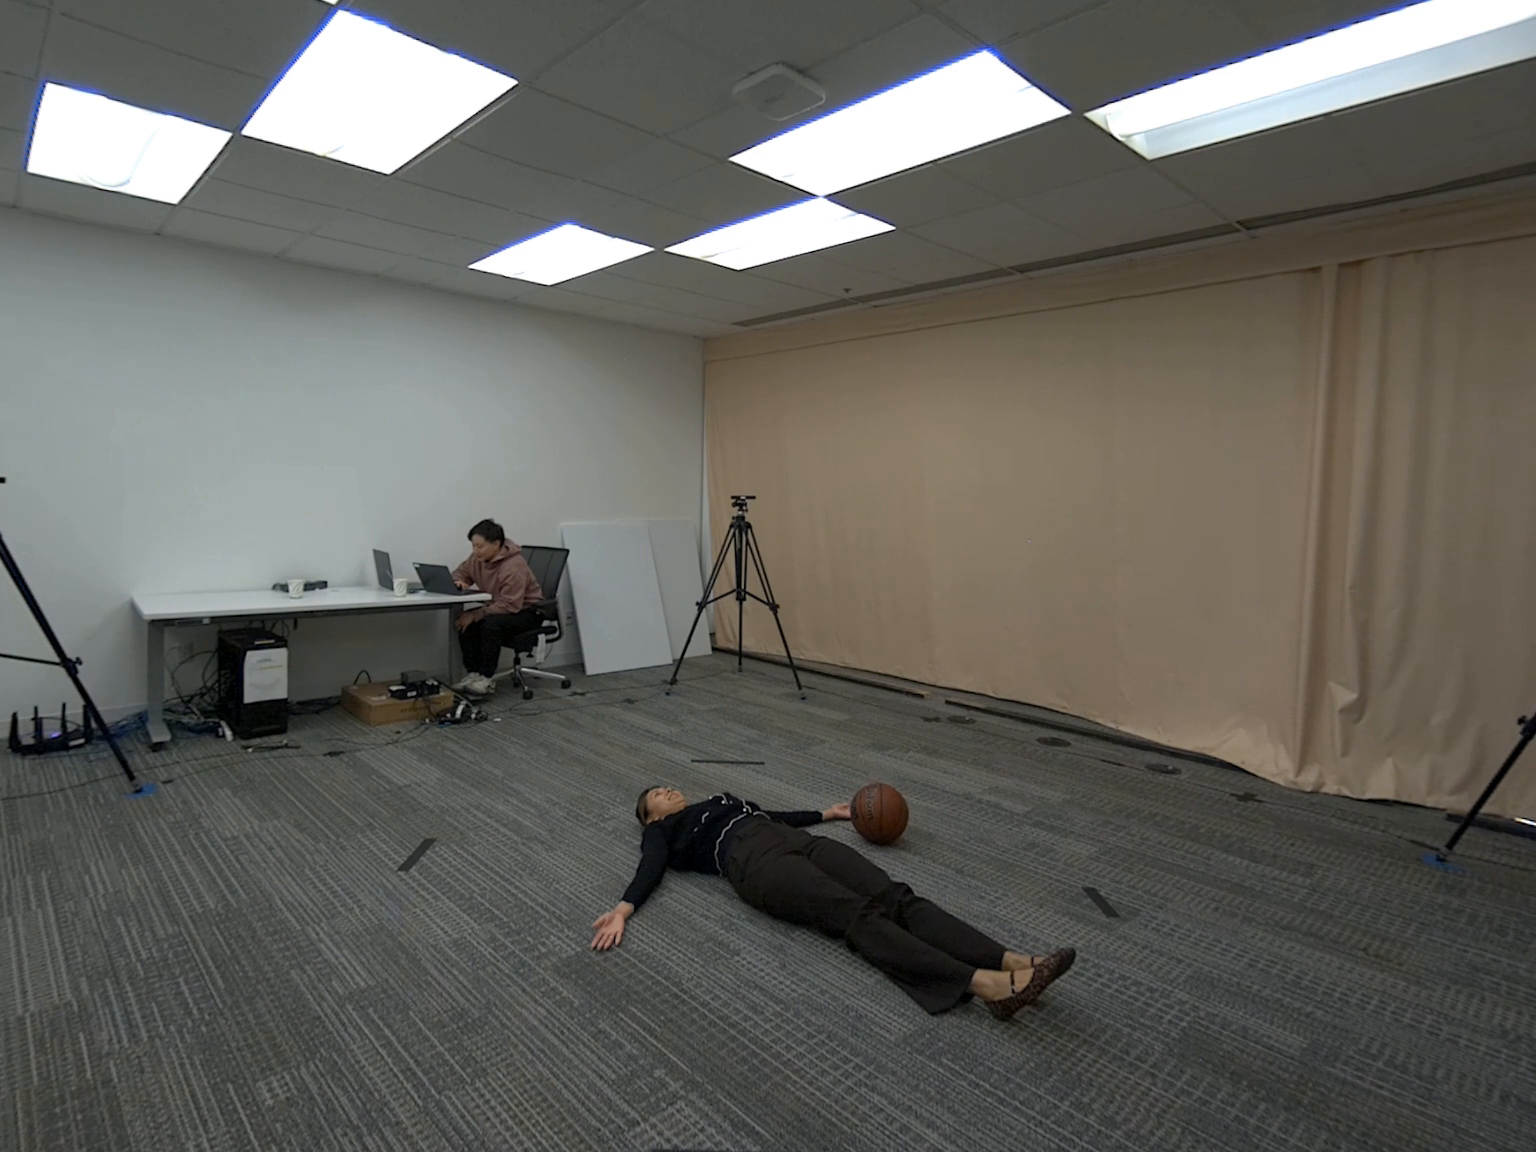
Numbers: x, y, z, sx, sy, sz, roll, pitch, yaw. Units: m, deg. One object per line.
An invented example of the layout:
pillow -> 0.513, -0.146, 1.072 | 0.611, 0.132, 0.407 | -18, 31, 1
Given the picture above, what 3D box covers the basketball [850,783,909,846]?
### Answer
basketball -> 0.444, 0.966, 3.444 | 0.236, 0.235, 0.237 | 1, 4, -1
